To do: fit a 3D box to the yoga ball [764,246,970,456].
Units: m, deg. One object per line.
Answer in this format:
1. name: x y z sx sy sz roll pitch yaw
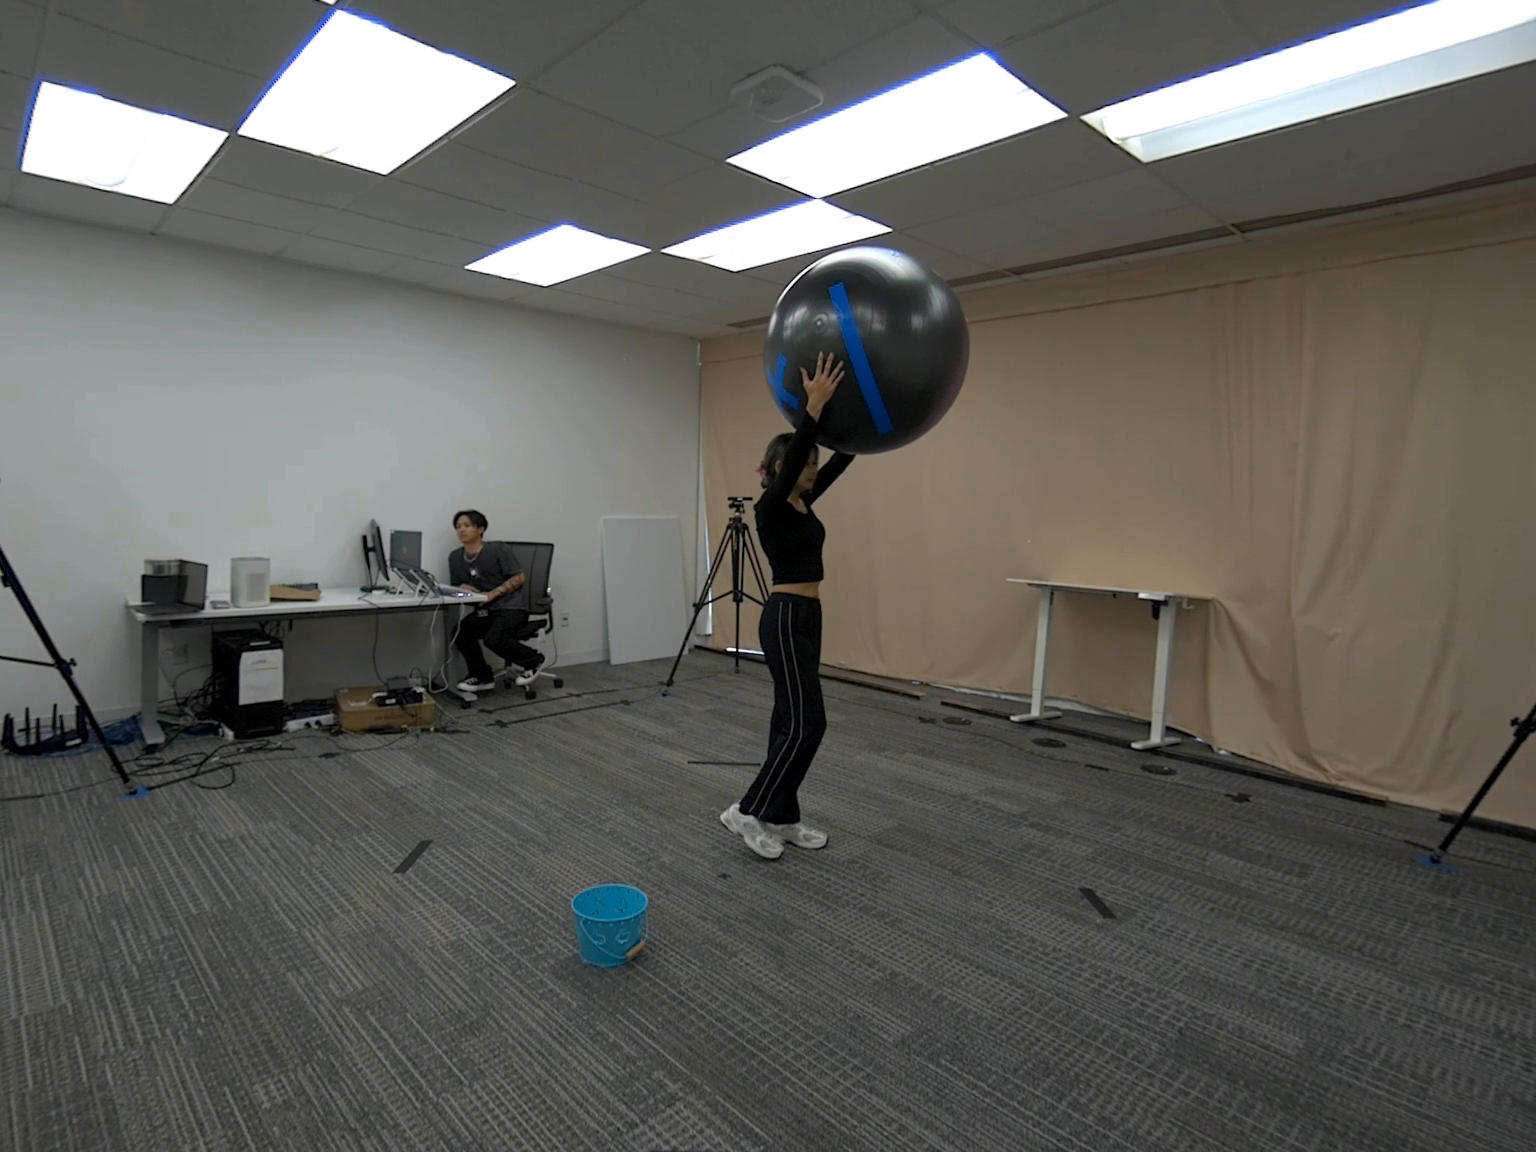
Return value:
1. yoga ball: 0.359 -0.829 3.158 0.757 0.756 0.761 1 4 -1
